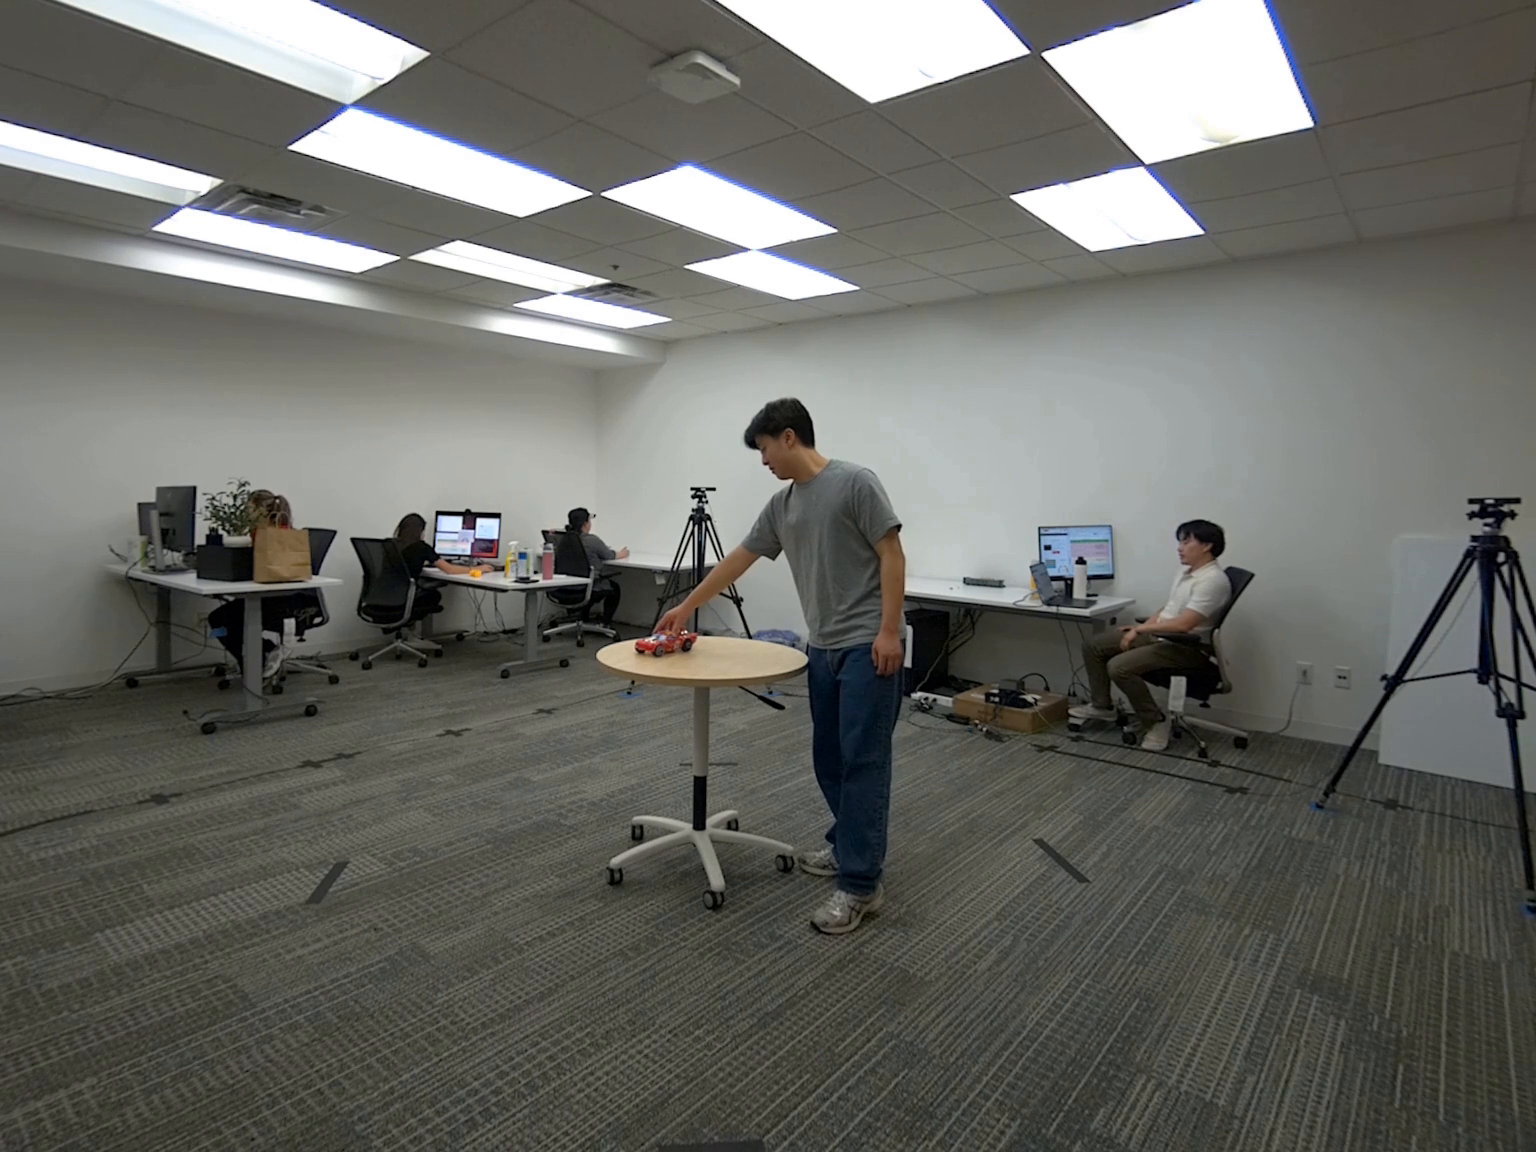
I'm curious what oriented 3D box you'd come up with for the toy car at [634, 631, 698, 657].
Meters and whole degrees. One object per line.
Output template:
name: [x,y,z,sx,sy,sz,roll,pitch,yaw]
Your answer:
toy car: [-0.380,0.246,3.145,0.134,0.082,0.249,4,17,40]
